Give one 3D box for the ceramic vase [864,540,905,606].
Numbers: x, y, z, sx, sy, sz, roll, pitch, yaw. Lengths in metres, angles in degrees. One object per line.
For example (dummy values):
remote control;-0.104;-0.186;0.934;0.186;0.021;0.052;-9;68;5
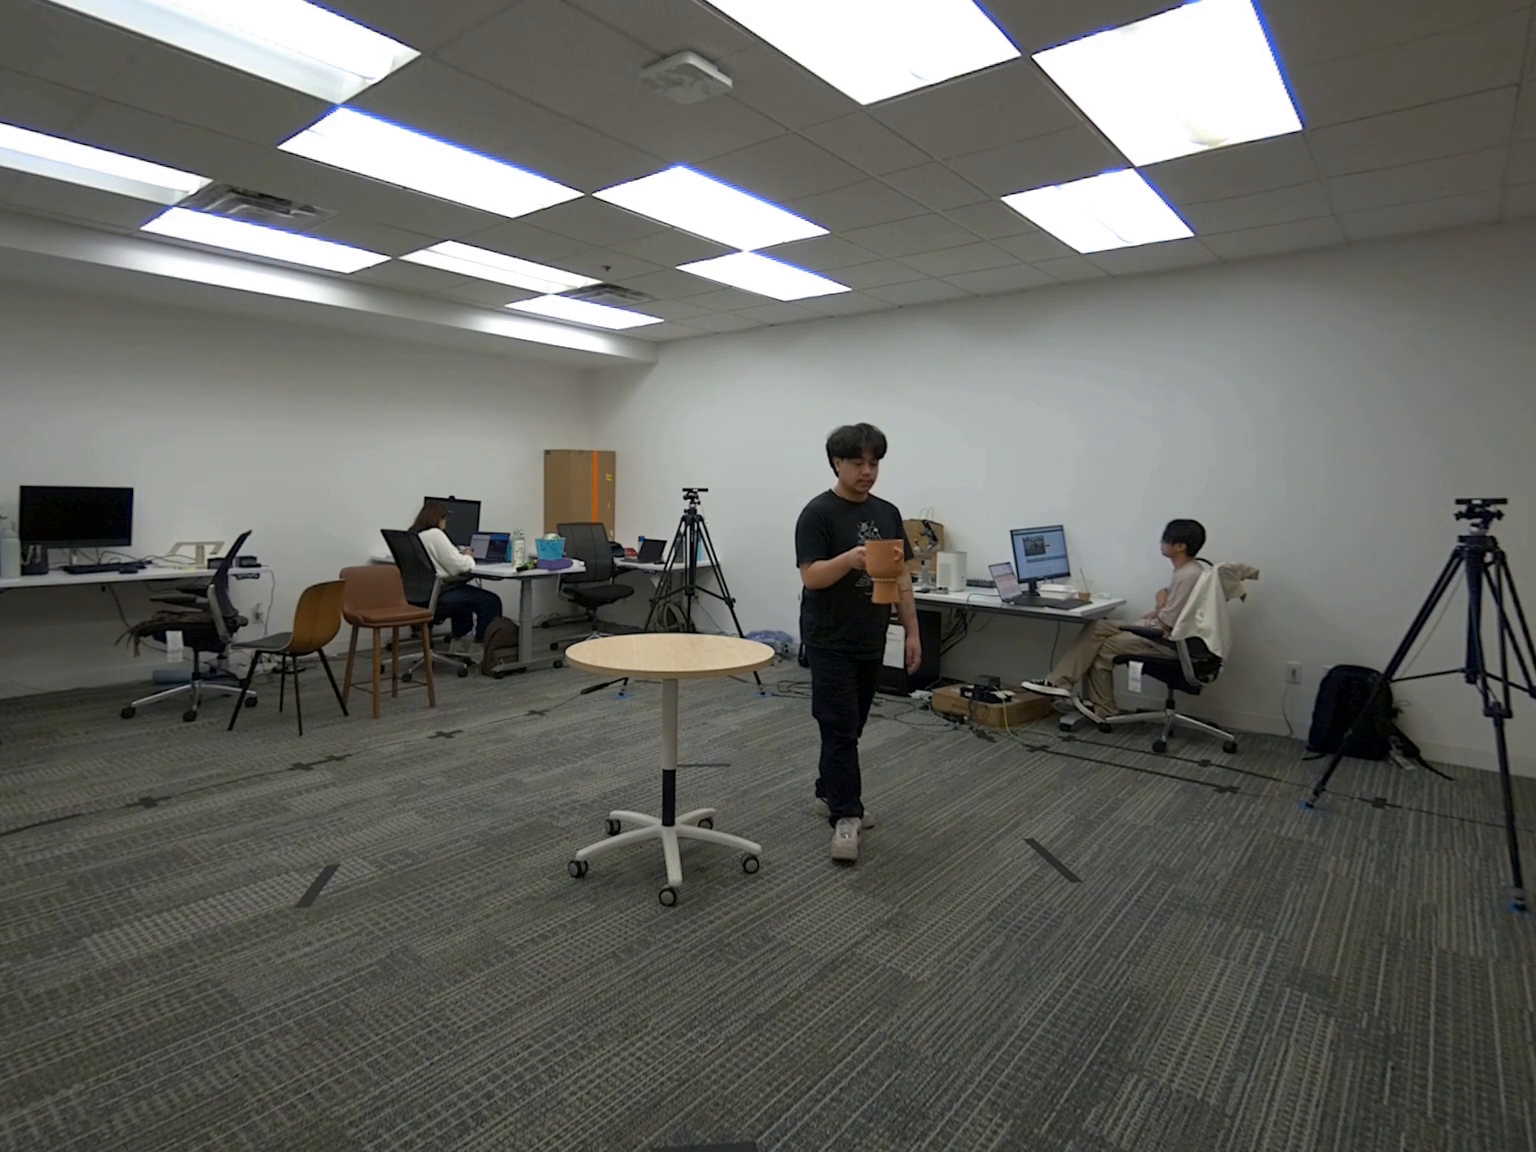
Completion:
ceramic vase;0.398;-0.023;3.028;0.136;0.219;0.157;-1;3;11
